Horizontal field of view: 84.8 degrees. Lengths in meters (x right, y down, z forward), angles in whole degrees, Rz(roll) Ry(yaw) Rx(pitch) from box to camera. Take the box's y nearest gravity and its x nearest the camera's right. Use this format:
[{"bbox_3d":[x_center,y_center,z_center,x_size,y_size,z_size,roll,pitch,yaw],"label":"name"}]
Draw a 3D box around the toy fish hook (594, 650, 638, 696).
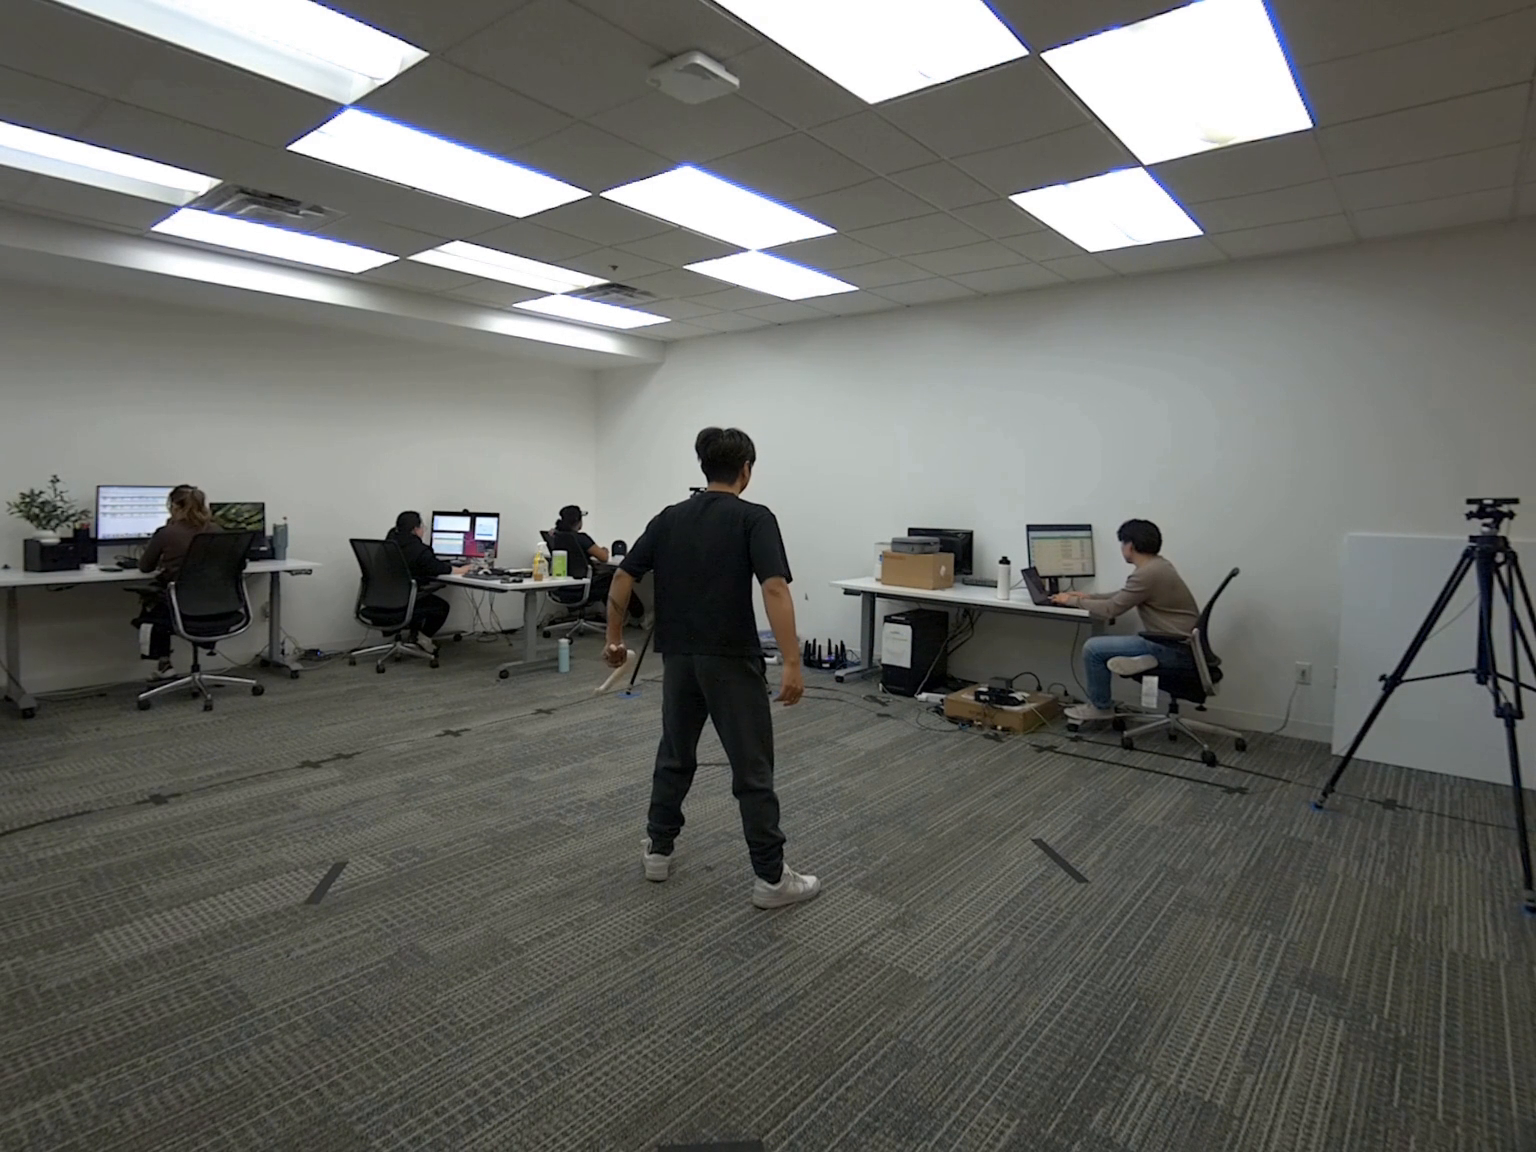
[{"bbox_3d":[-0.585,0.340,3.119,0.049,0.225,0.499,35,-10,6],"label":"toy fish hook"}]
